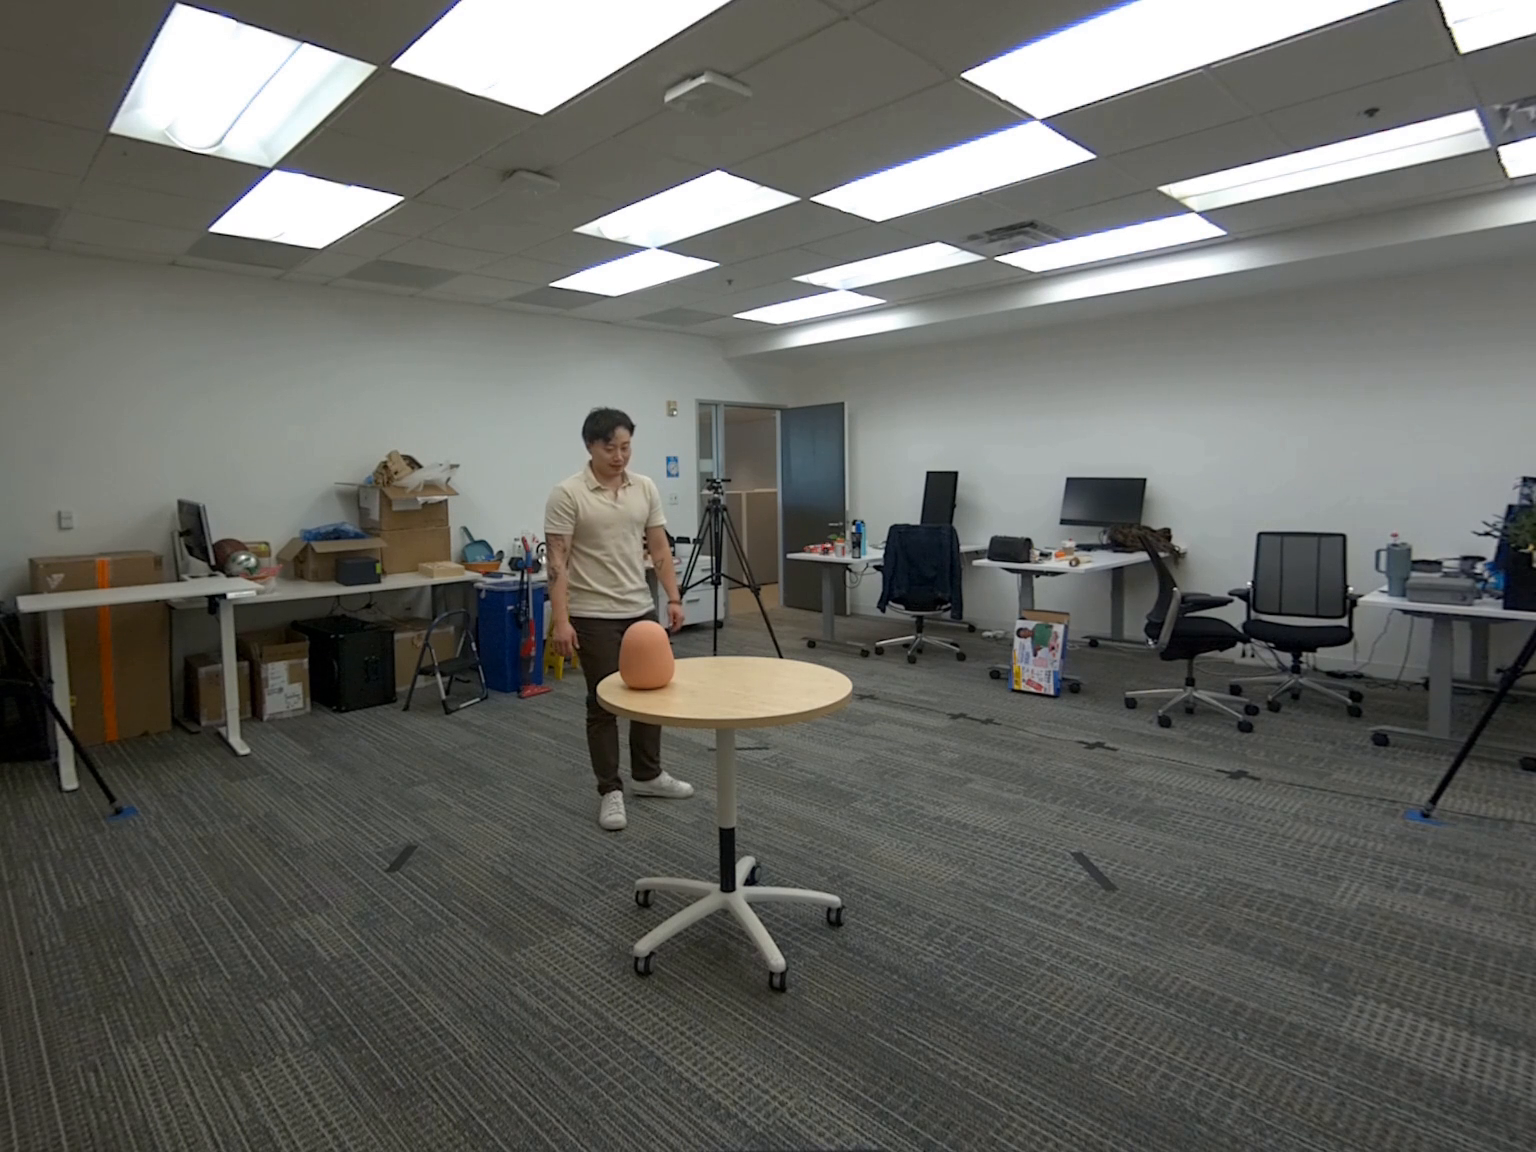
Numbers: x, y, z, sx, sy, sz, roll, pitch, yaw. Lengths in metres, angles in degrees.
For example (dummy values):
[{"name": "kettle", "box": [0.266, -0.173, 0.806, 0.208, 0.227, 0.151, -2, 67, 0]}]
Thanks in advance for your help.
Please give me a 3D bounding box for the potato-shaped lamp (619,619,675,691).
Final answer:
[{"name": "potato-shaped lamp", "box": [-0.360, 0.229, 2.548, 0.166, 0.198, 0.170, -5, 2, 8]}]
